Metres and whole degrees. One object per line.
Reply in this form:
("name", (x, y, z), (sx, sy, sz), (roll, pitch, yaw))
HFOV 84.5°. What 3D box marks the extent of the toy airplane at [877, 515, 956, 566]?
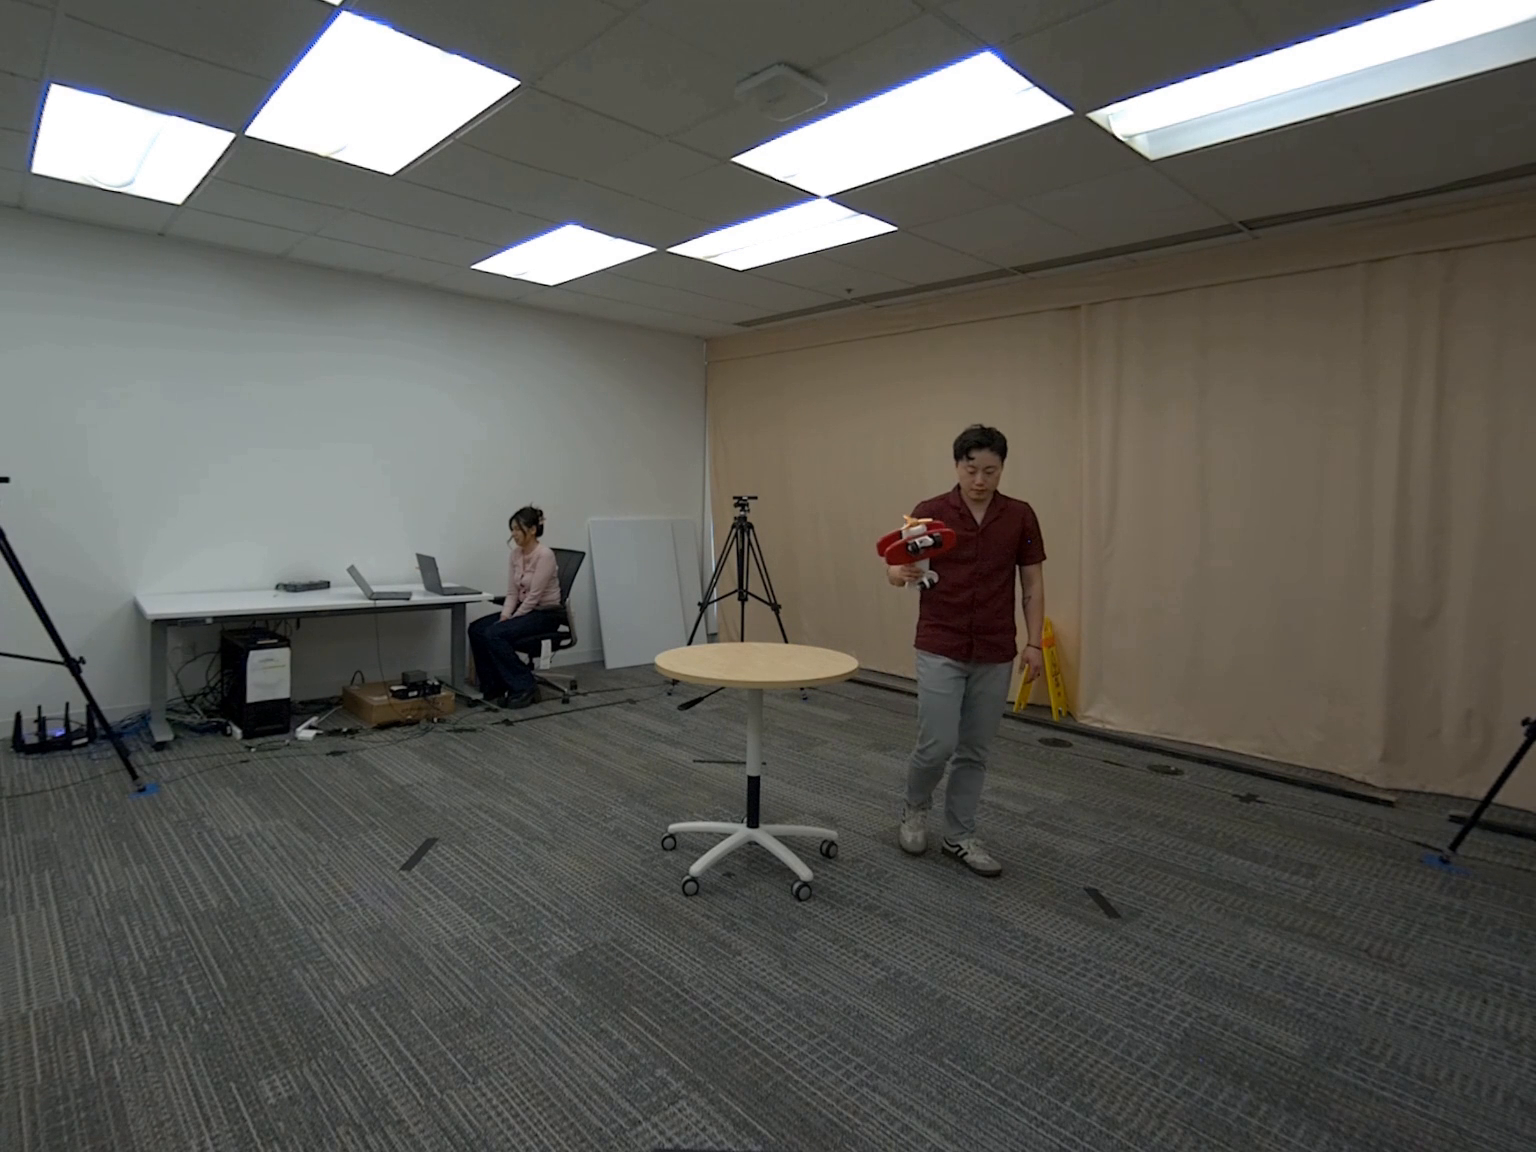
("toy airplane", (0.495, -0.070, 2.895), (0.246, 0.256, 0.161), (7, 35, -25))
